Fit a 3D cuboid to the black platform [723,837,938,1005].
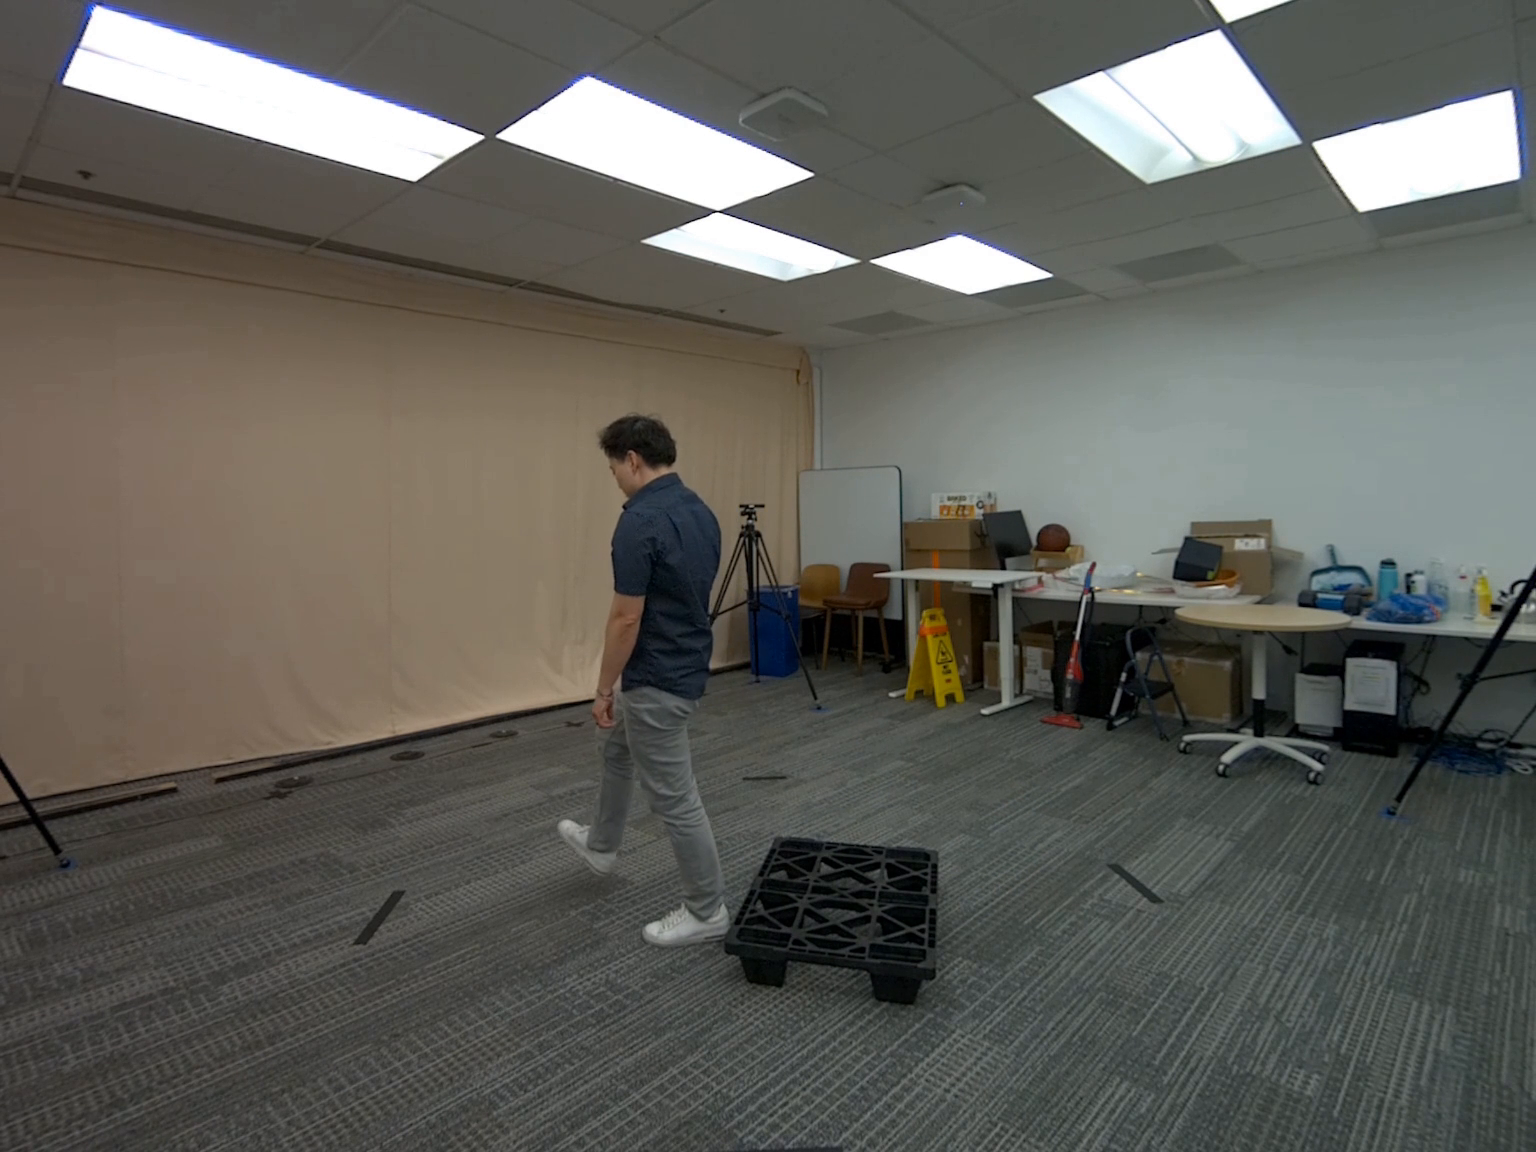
[{"bbox_3d":[0.251,1.089,2.739,0.614,0.143,0.796,1,5,13],"label":"black platform"}]
